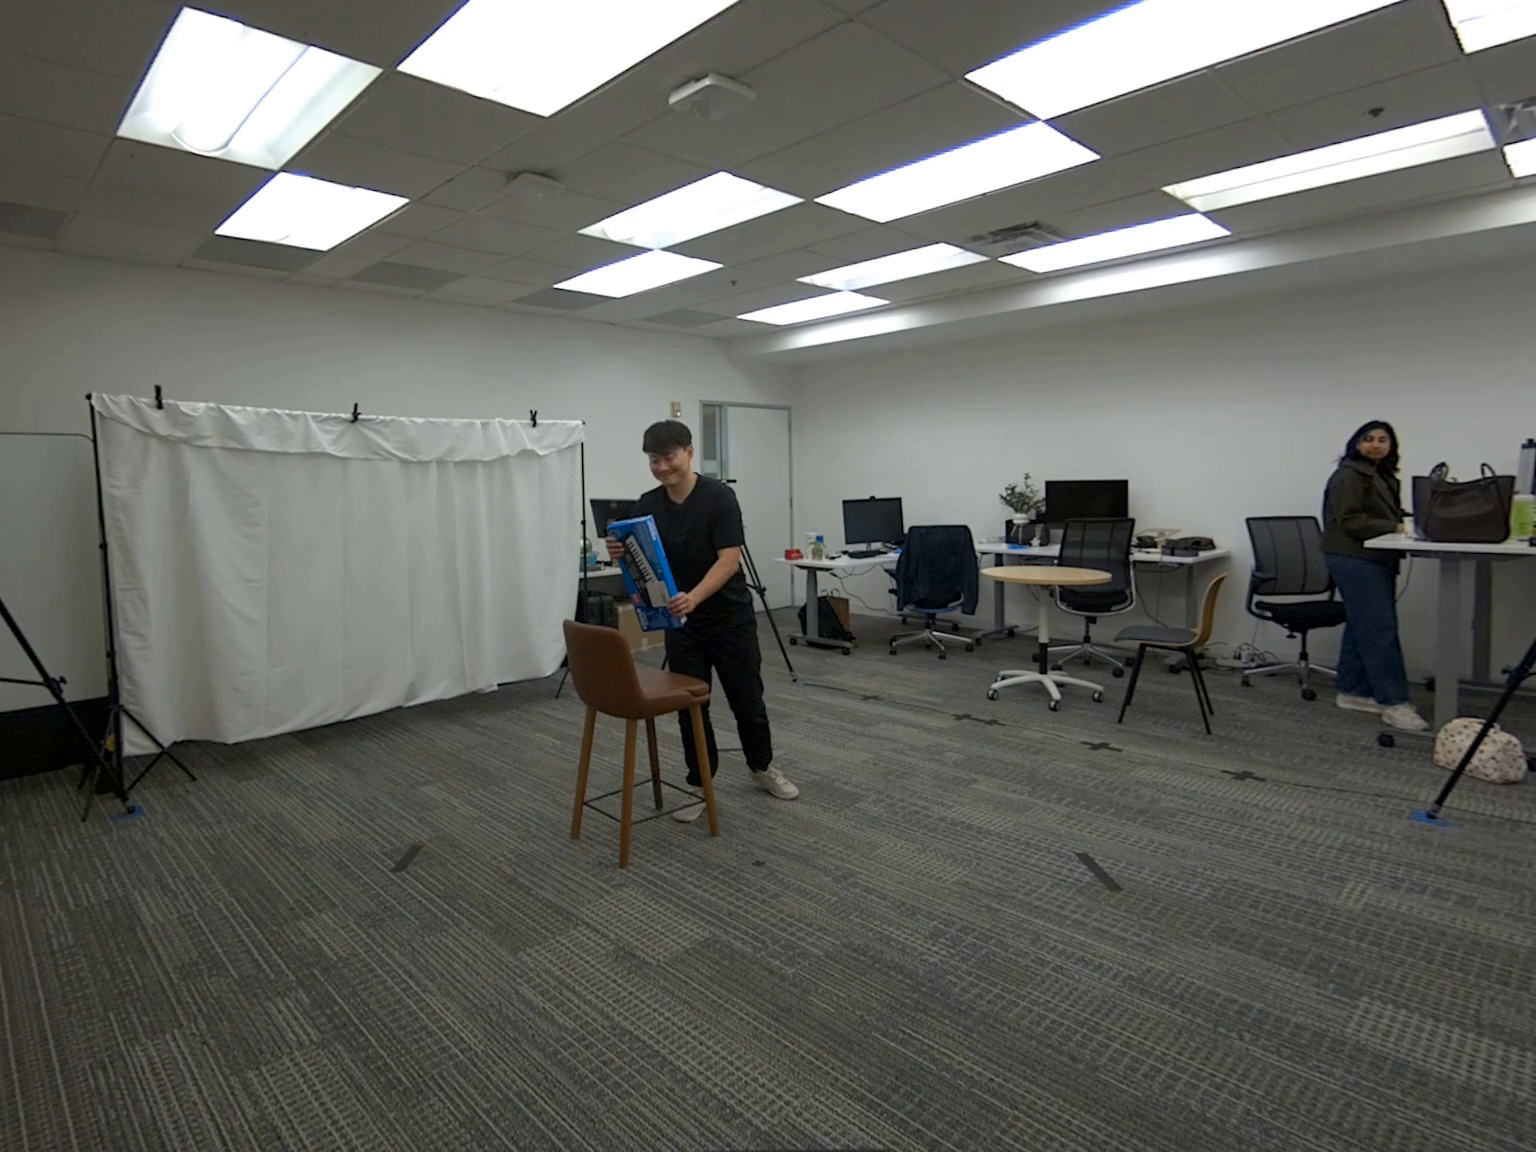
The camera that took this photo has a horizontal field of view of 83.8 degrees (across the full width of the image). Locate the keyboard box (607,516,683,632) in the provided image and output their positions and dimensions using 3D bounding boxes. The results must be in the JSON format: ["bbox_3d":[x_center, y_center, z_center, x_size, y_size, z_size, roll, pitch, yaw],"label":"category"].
[{"bbox_3d":[-0.460,0.002,3.212,0.179,0.429,0.059,-10,17,22],"label":"keyboard box"}]
